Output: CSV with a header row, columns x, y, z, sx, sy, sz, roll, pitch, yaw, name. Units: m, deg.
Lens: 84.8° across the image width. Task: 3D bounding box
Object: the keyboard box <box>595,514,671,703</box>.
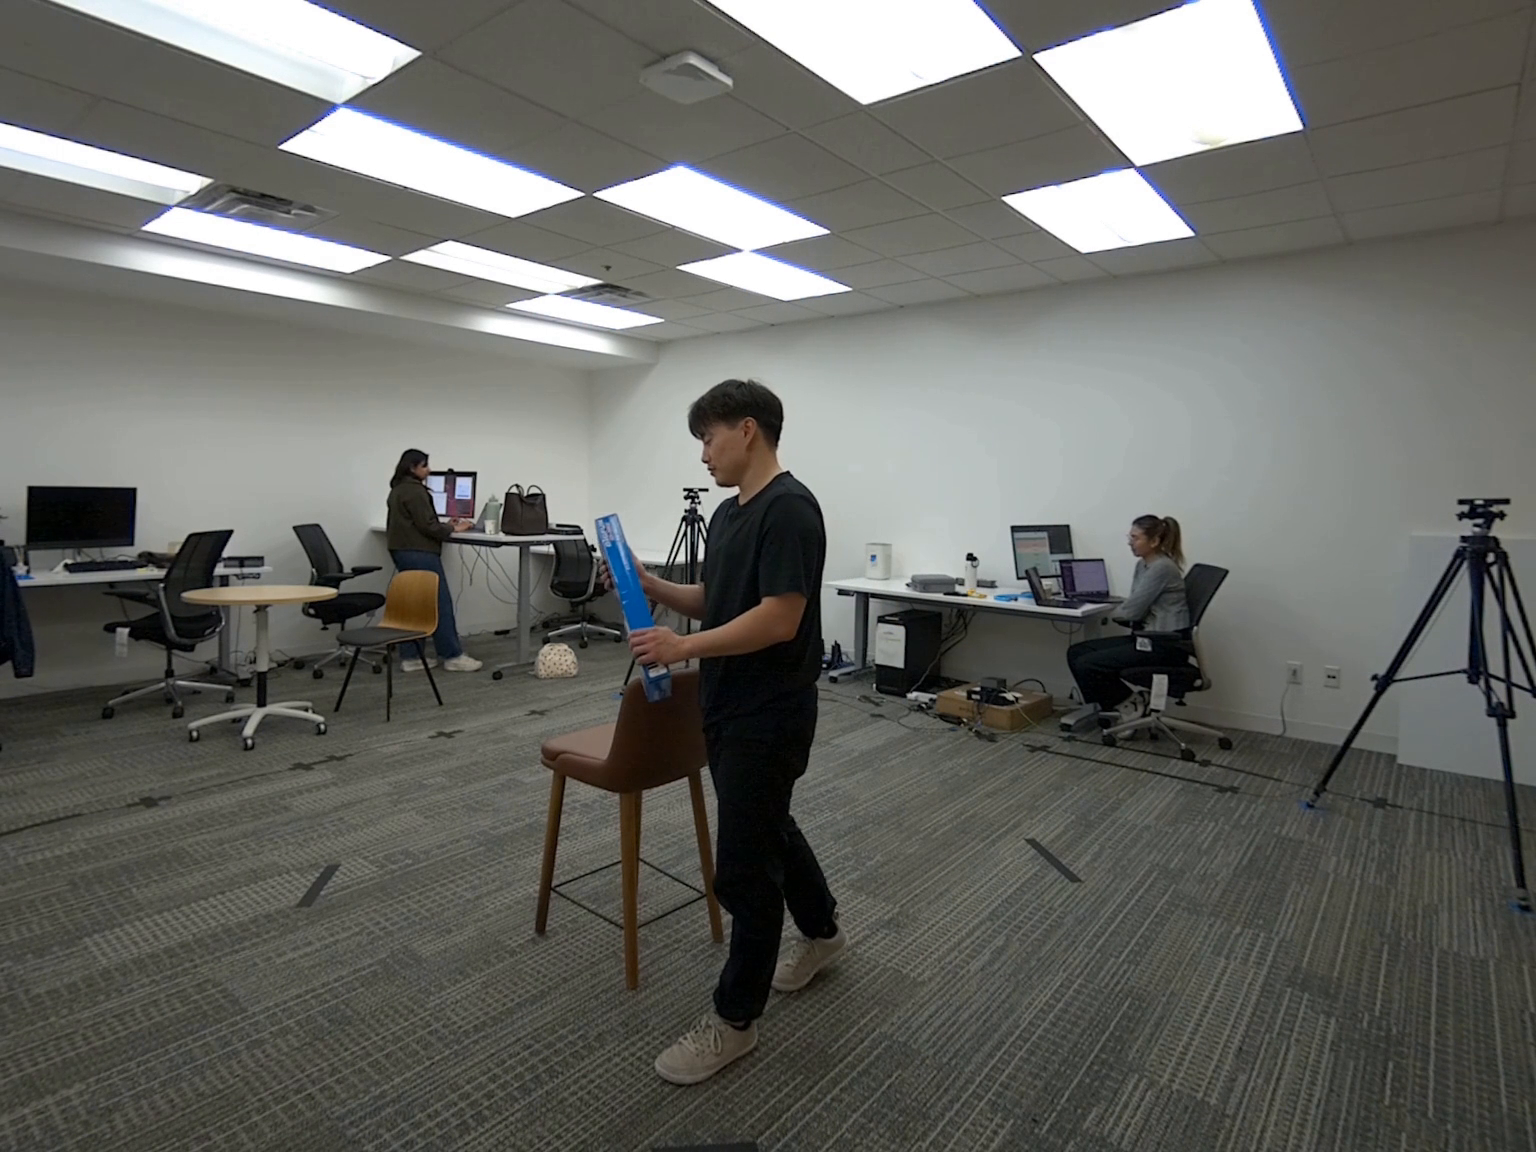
x,y,z,sx,sy,sz,roll,pitch,yaw,name
-0.337,0.076,2.091,0.058,0.449,0.173,-17,-22,-12,keyboard box
